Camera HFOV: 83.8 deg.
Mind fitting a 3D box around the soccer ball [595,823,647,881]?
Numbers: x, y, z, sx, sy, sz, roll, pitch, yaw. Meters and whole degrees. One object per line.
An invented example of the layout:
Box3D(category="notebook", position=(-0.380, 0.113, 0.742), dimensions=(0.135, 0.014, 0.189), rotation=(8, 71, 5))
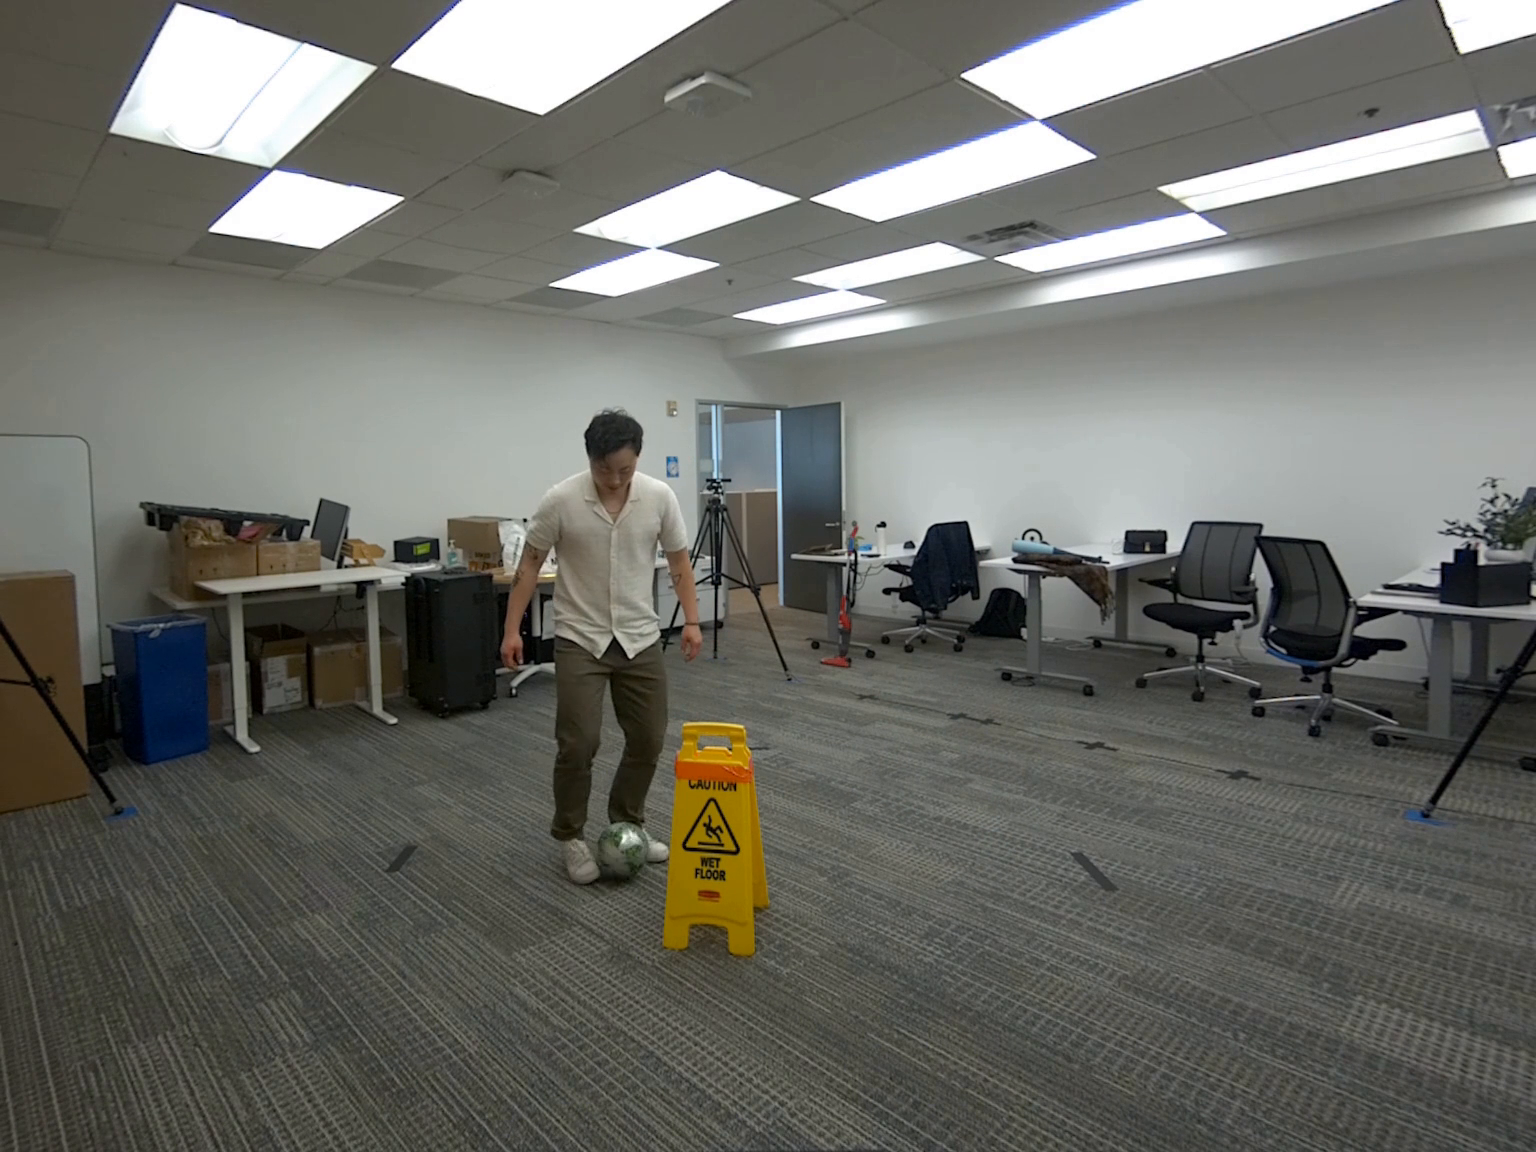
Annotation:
Box3D(category="soccer ball", position=(-0.511, 0.965, 3.010), dimensions=(0.187, 0.187, 0.188), rotation=(-1, 5, -2))
